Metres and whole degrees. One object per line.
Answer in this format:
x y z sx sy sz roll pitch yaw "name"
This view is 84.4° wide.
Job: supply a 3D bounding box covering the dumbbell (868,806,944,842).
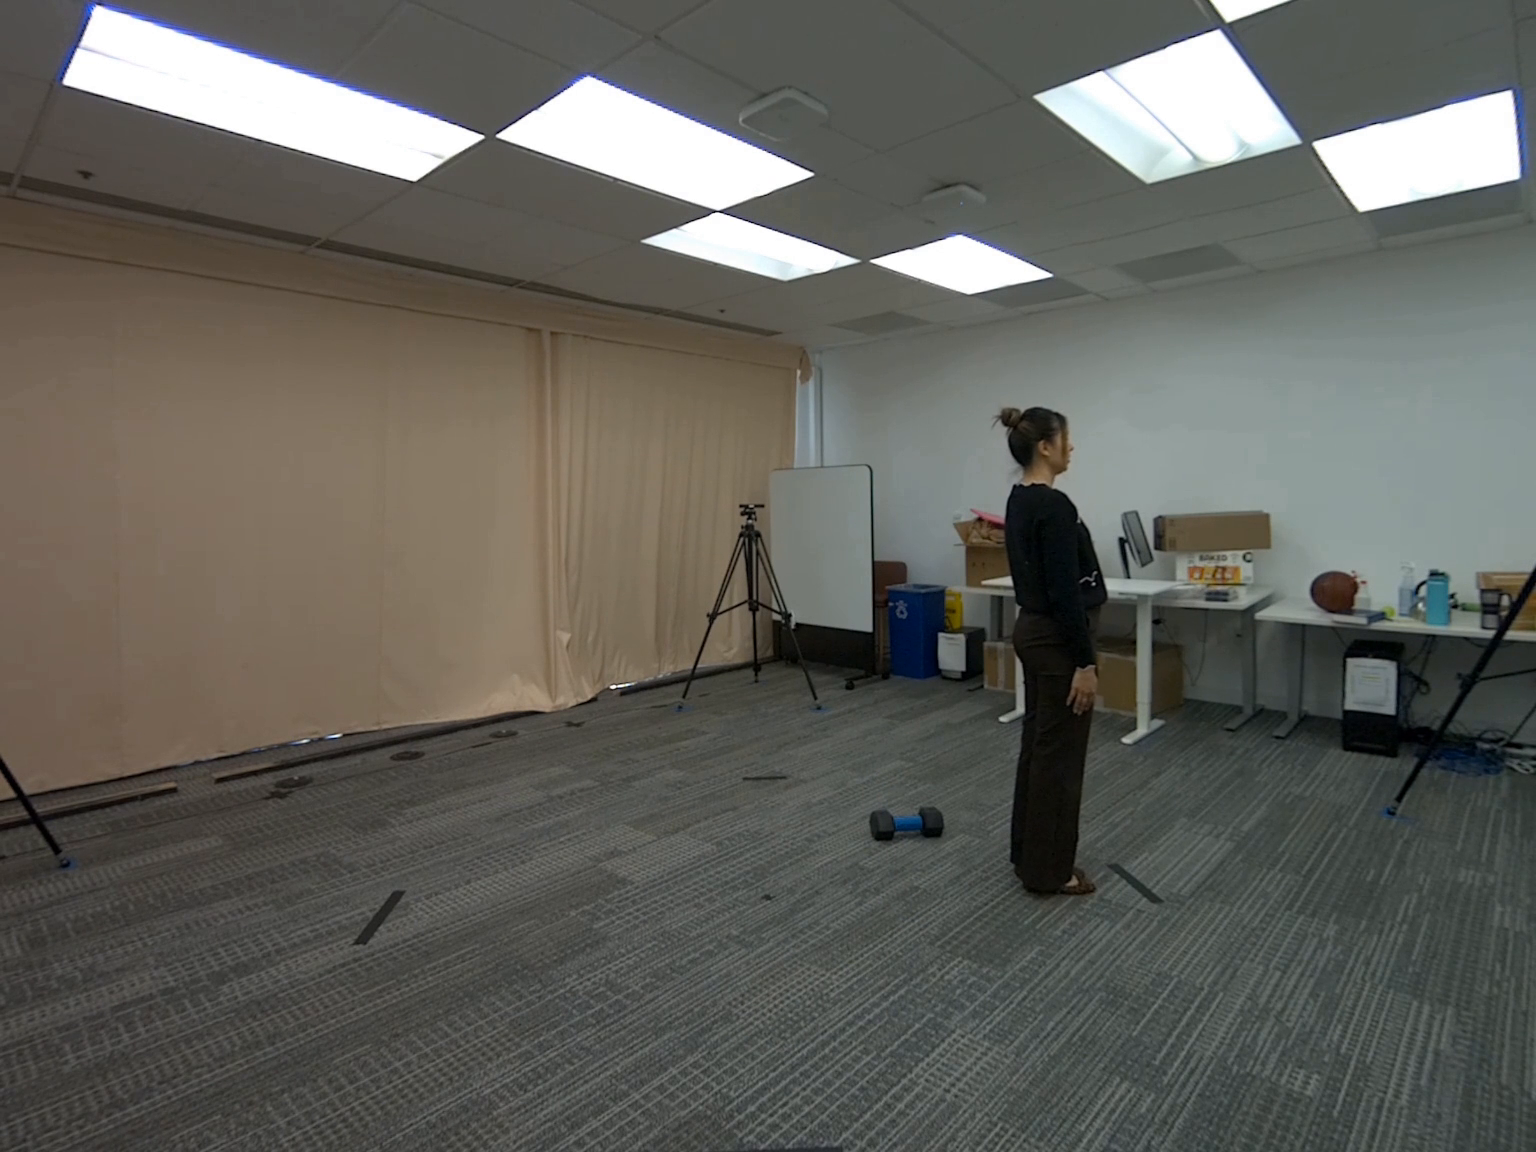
0.581 1.032 3.504 0.291 0.125 0.108 -2 -24 -8 "dumbbell"
